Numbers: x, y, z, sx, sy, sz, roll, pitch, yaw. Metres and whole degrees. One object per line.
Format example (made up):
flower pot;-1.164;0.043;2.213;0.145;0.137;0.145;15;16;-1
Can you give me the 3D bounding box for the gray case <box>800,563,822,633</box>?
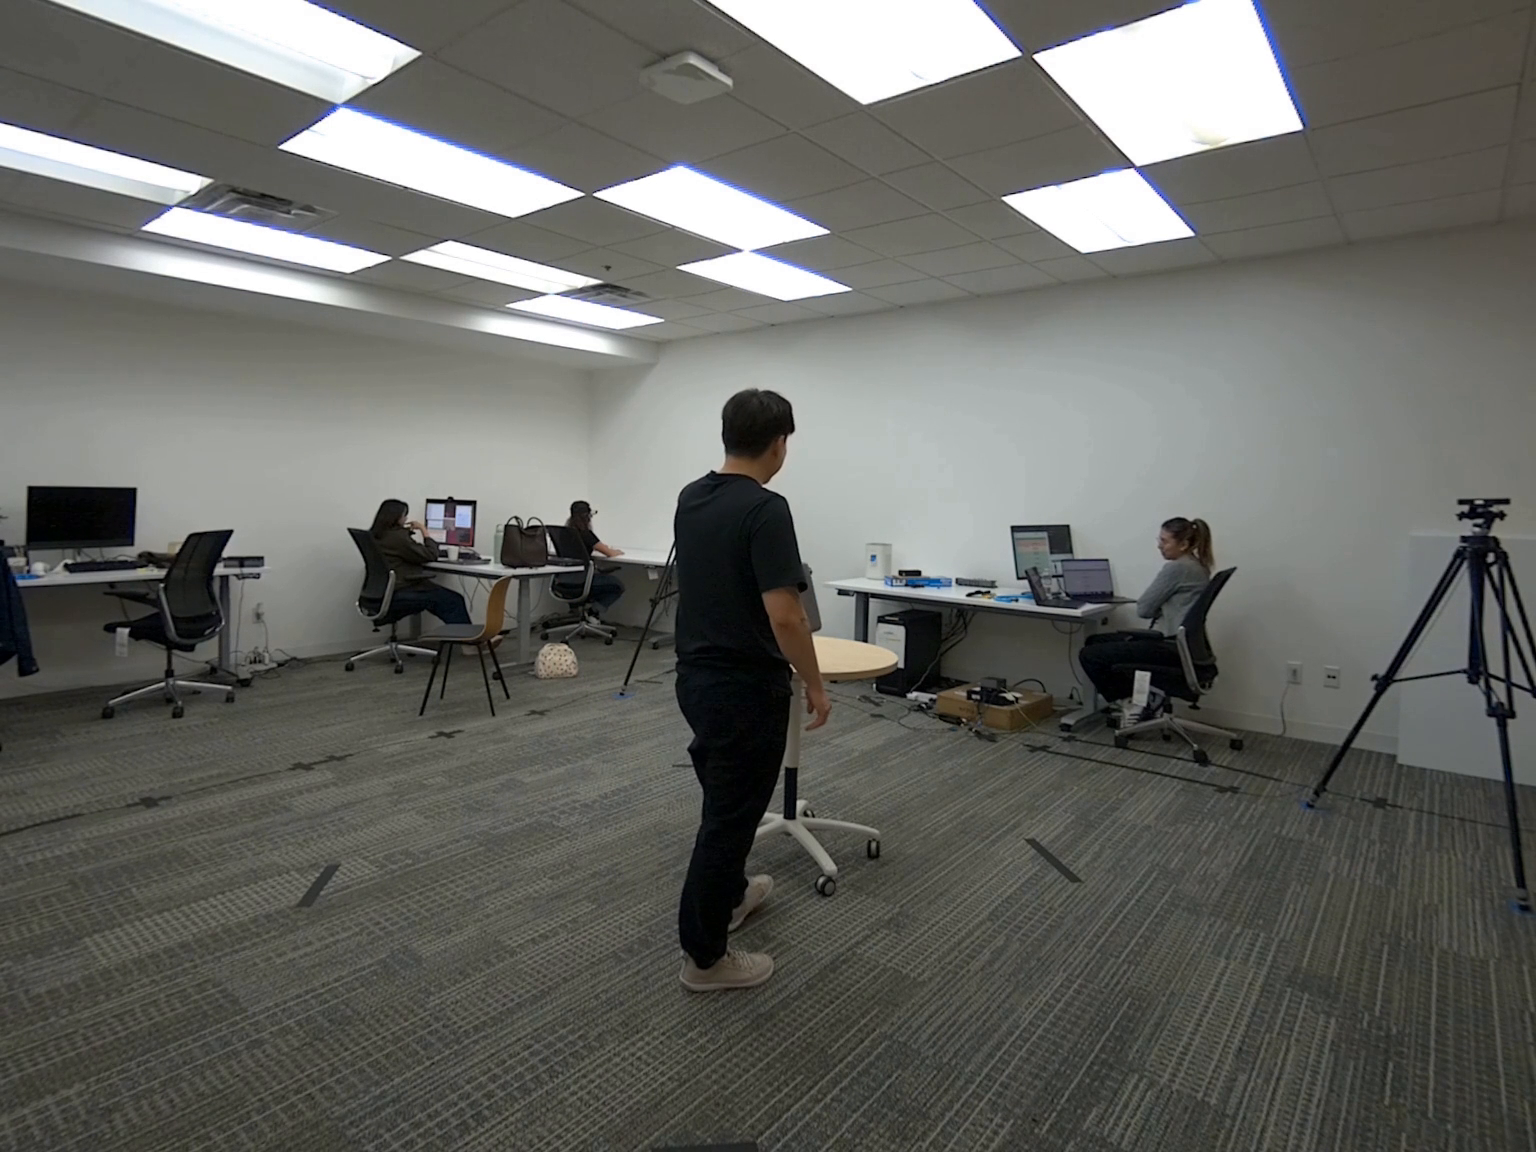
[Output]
gray case;0.030;0.086;2.916;0.254;0.261;0.105;-13;-2;-15
